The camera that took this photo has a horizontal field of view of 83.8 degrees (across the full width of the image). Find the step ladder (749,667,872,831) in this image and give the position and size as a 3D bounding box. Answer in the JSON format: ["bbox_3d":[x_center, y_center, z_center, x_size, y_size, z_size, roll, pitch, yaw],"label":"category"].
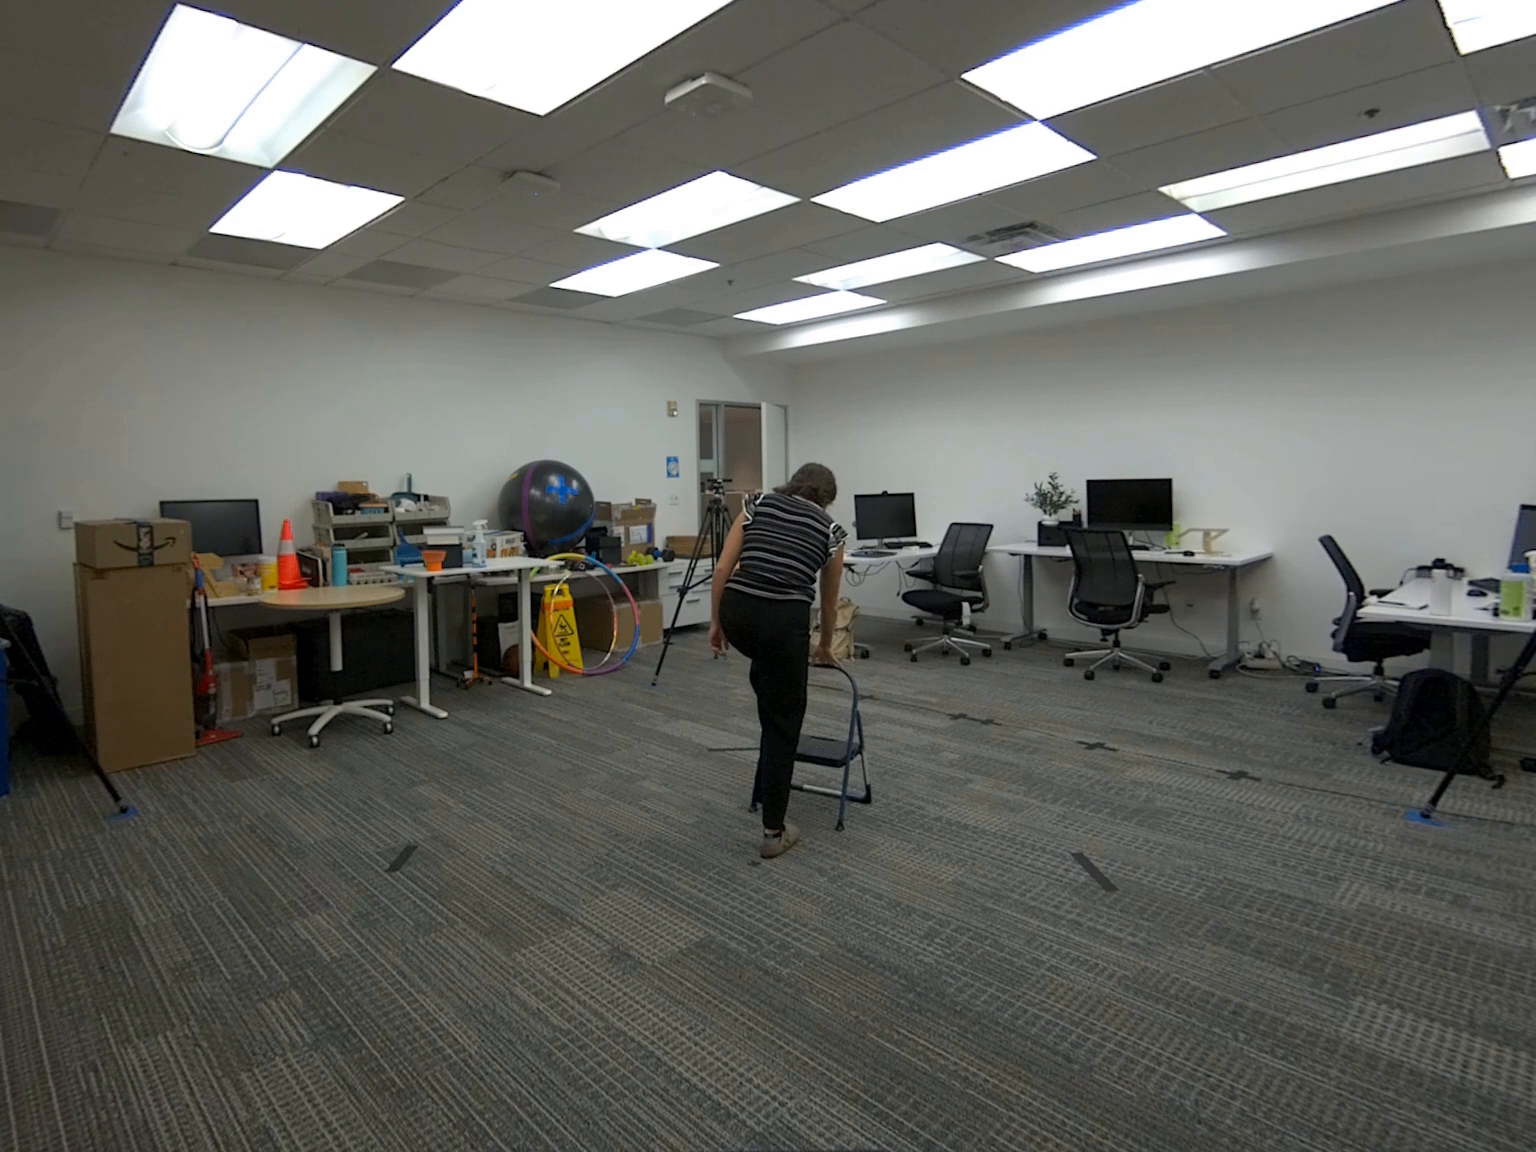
[{"bbox_3d":[0.185,0.681,3.614,0.442,0.603,0.341,3,5,30],"label":"step ladder"}]
